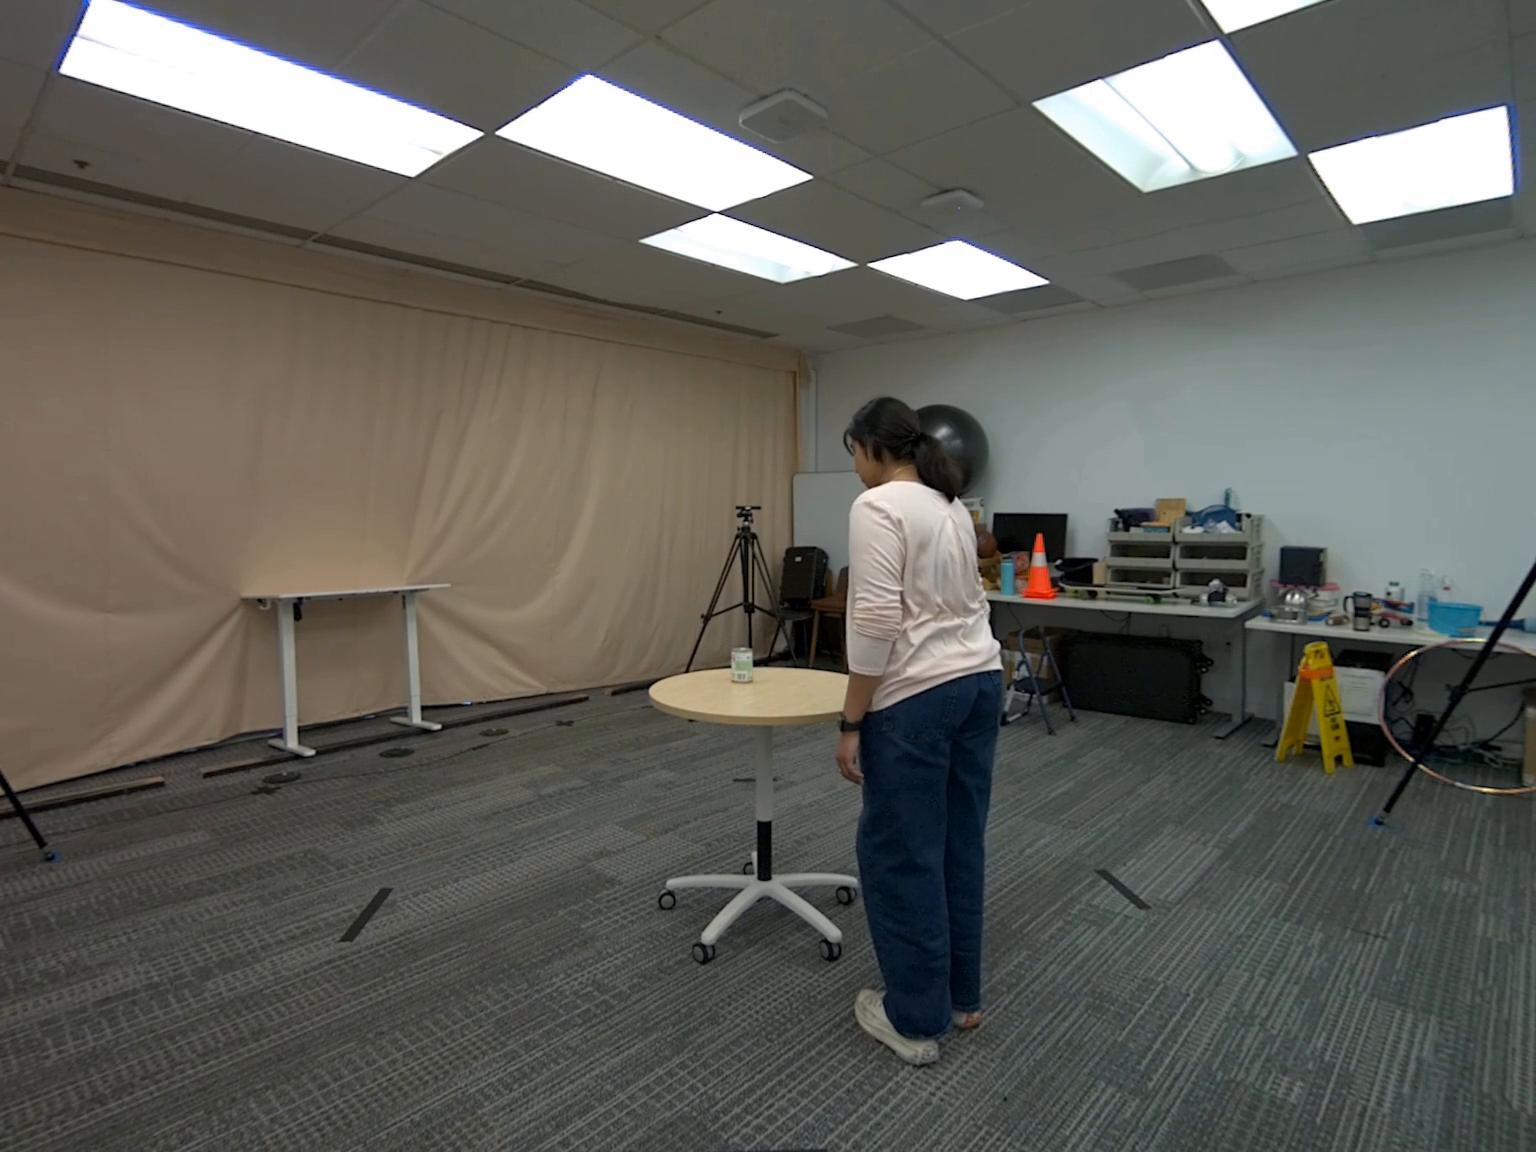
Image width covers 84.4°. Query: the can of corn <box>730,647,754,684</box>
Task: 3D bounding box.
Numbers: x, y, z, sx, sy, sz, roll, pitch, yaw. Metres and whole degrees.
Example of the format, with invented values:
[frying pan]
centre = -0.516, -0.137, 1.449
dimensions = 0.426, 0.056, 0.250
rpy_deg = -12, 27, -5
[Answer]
[can of corn]
centre = -0.091, 0.313, 2.919
dimensions = 0.074, 0.111, 0.074
rpy_deg = -2, 5, -2
